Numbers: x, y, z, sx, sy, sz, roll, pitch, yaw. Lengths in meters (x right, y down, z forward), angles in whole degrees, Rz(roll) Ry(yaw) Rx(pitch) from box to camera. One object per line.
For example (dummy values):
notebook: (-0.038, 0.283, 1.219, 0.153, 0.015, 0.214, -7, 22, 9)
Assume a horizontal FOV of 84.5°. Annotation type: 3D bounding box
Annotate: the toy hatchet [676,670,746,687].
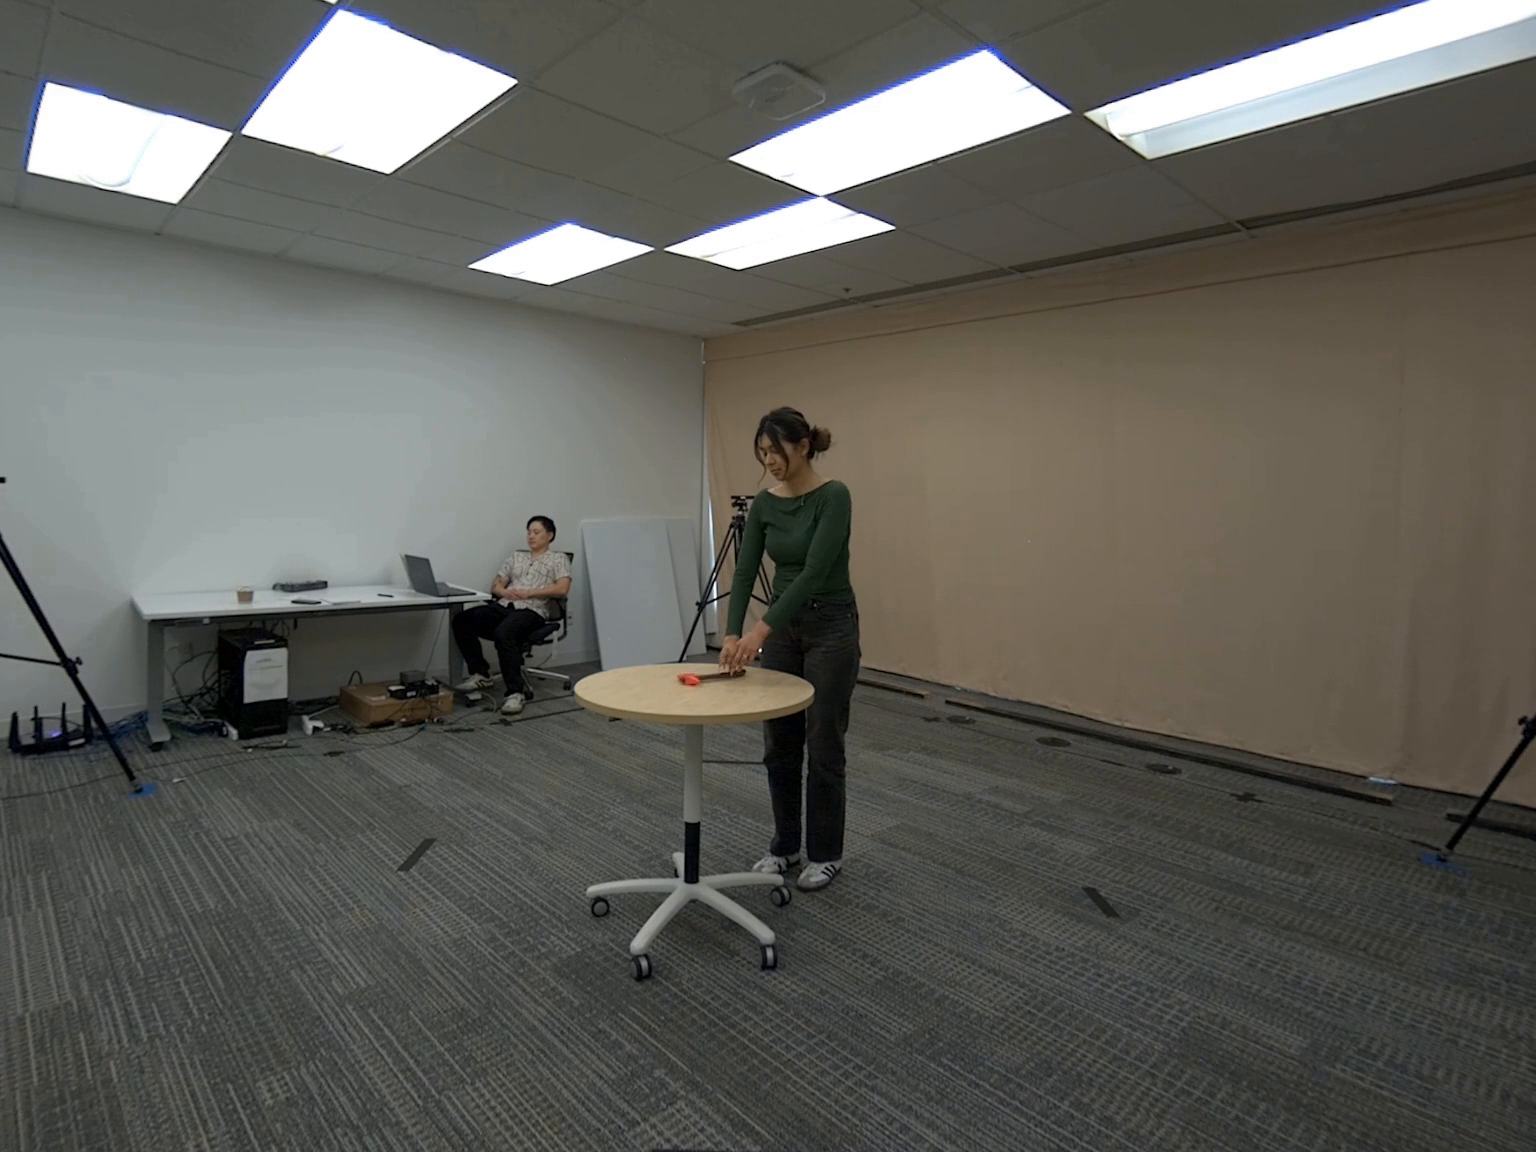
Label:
toy hatchet: (-0.209, 0.335, 2.821, 0.134, 0.029, 0.264, 0, 1, 35)
